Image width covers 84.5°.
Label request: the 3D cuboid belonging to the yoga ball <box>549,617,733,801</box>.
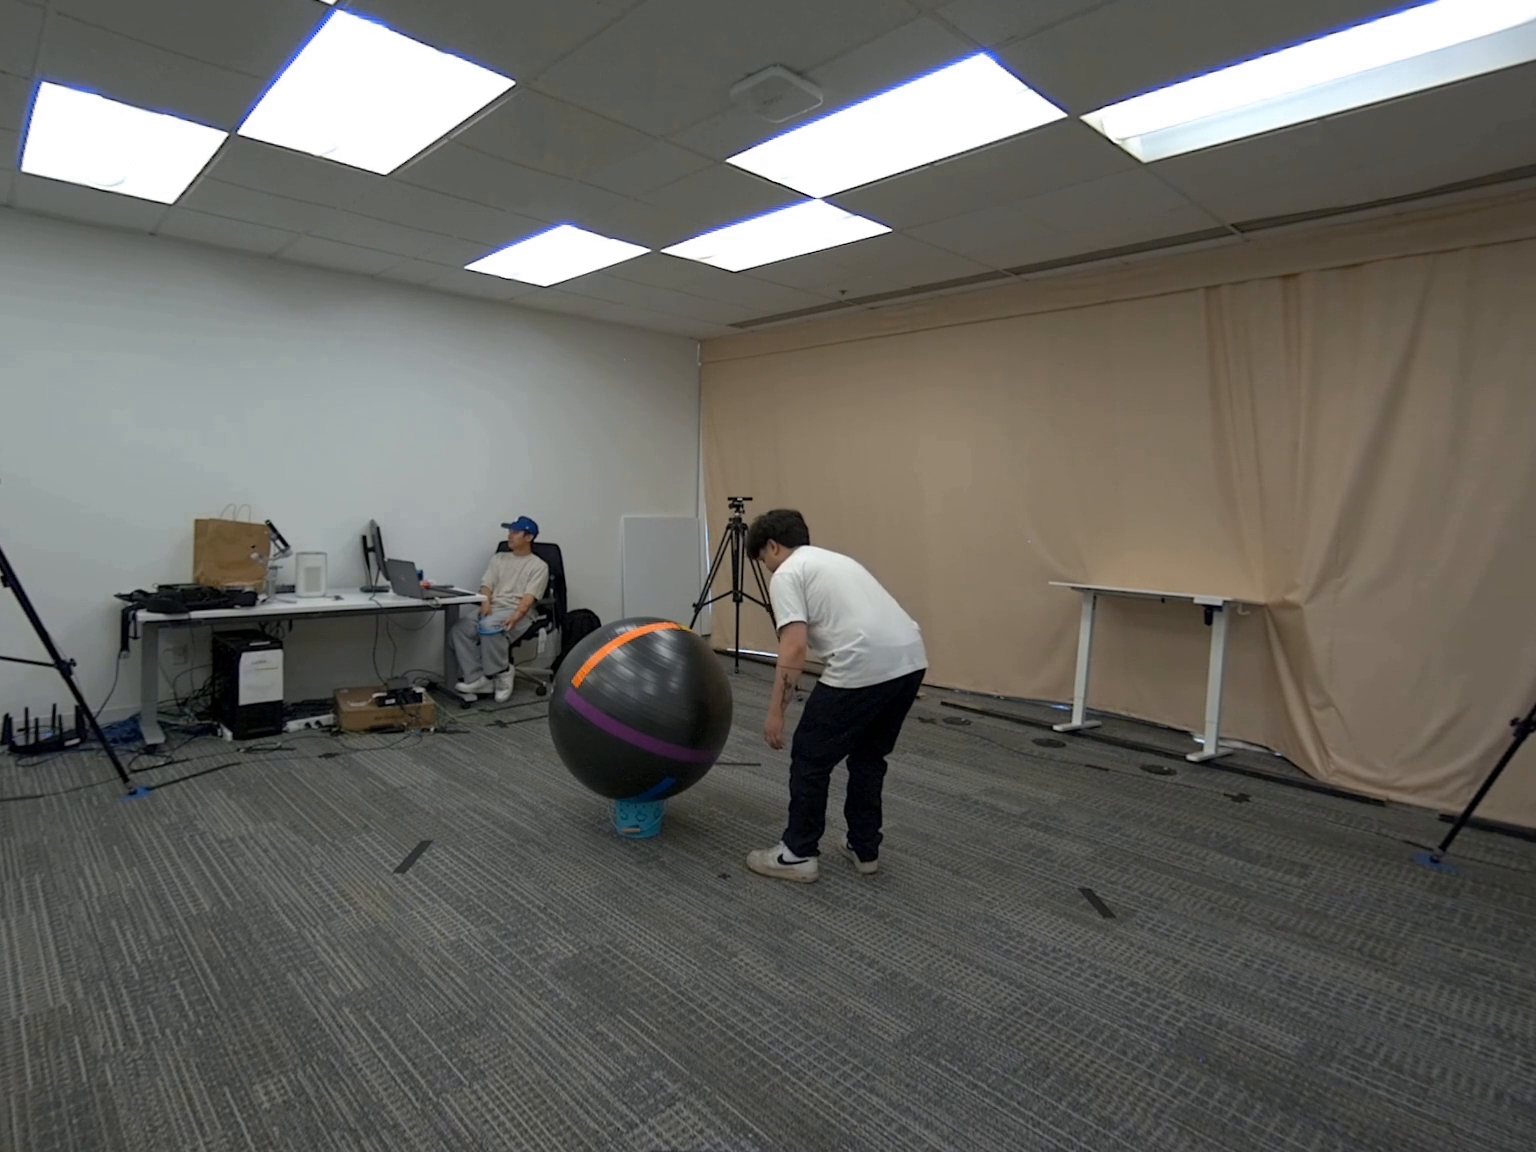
[{"bbox_3d":[-0.529,0.545,3.510,0.757,0.756,0.761,1,4,-1],"label":"yoga ball"}]
